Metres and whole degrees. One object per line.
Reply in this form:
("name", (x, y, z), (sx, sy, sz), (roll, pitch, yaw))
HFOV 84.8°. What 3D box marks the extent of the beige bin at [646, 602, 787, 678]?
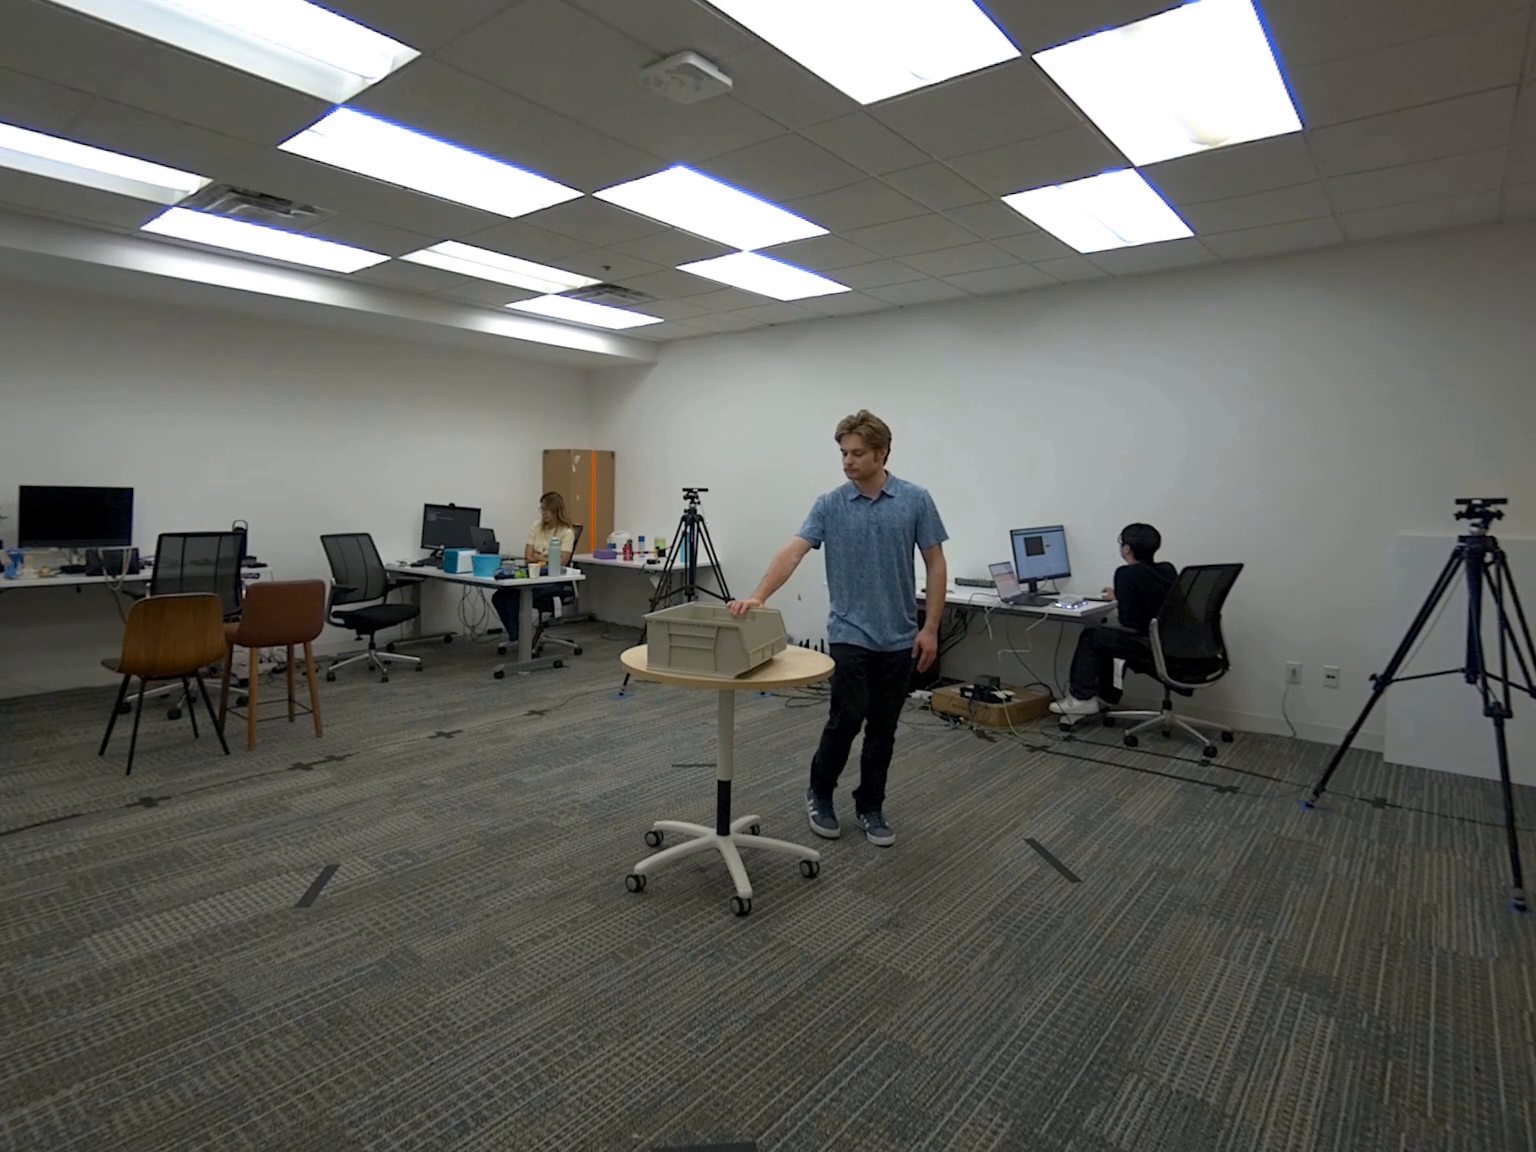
("beige bin", (-0.183, 0.211, 2.935), (0.385, 0.188, 0.415), (1, 5, 19))
